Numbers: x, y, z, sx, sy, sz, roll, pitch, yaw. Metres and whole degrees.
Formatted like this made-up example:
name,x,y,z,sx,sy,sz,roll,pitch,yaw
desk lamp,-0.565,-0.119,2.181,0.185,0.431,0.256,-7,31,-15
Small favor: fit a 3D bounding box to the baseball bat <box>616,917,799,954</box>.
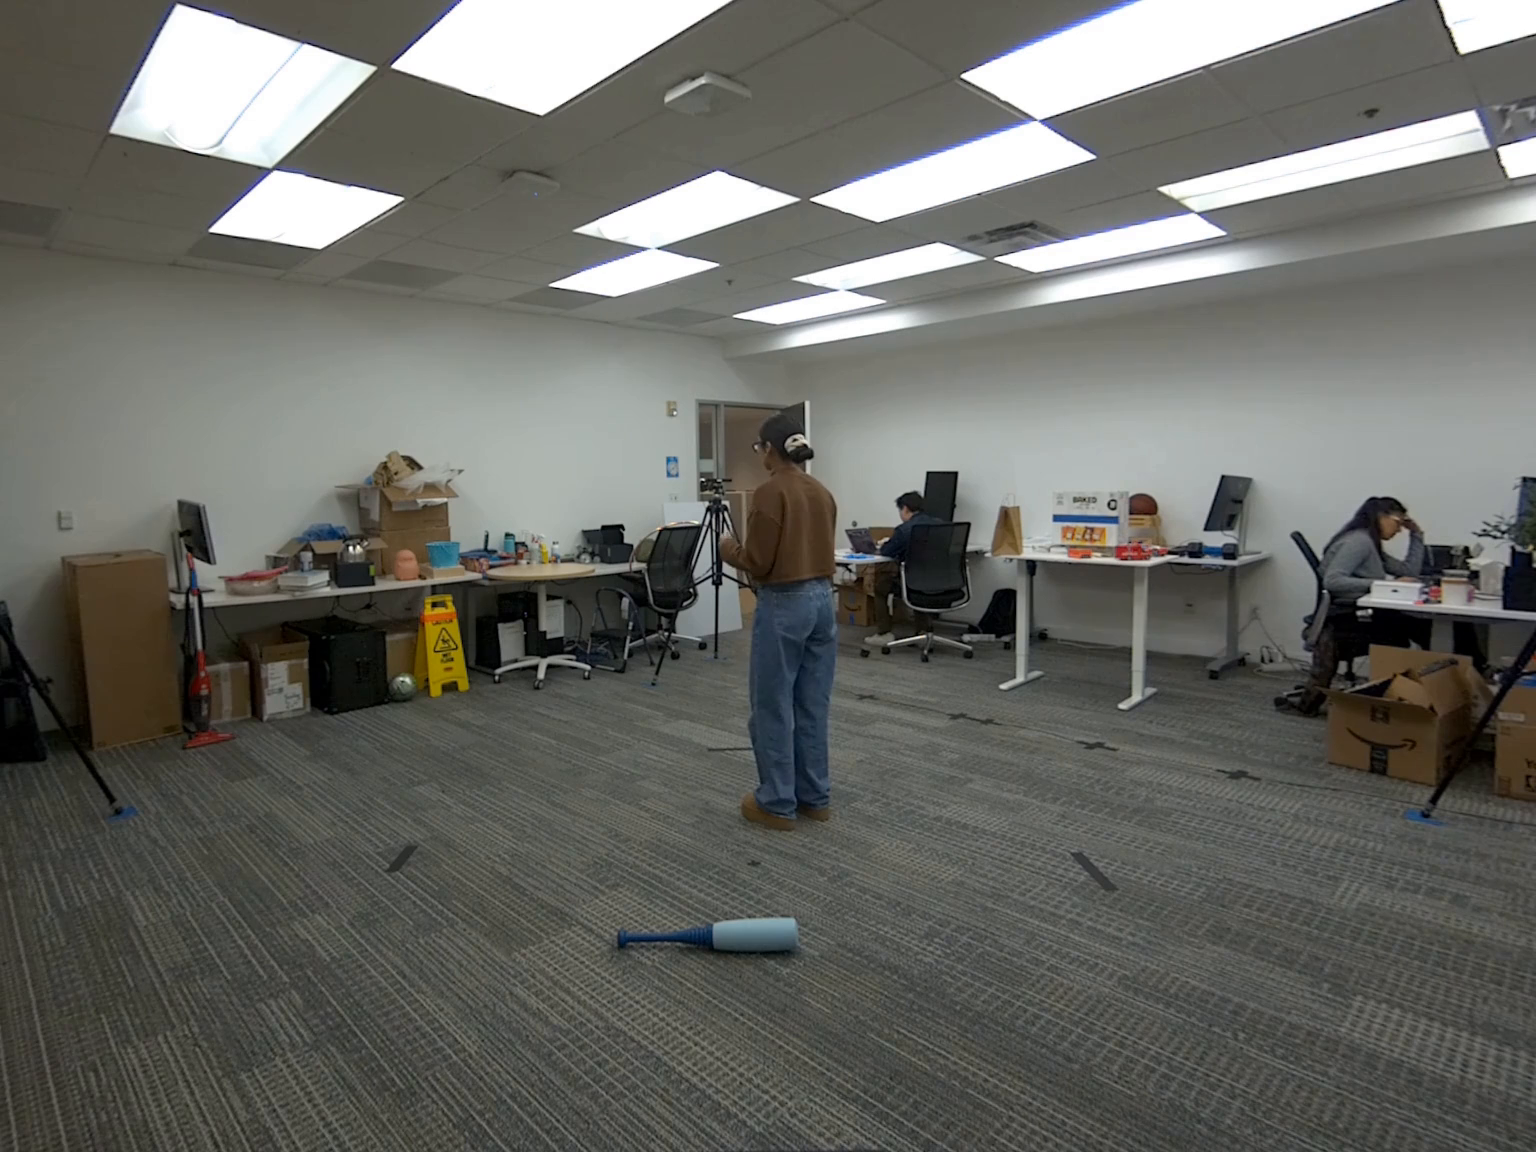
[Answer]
name,x,y,z,sx,sy,sz,roll,pitch,yaw
baseball bat,-0.179,1.079,2.549,0.546,0.089,0.089,-4,5,6
